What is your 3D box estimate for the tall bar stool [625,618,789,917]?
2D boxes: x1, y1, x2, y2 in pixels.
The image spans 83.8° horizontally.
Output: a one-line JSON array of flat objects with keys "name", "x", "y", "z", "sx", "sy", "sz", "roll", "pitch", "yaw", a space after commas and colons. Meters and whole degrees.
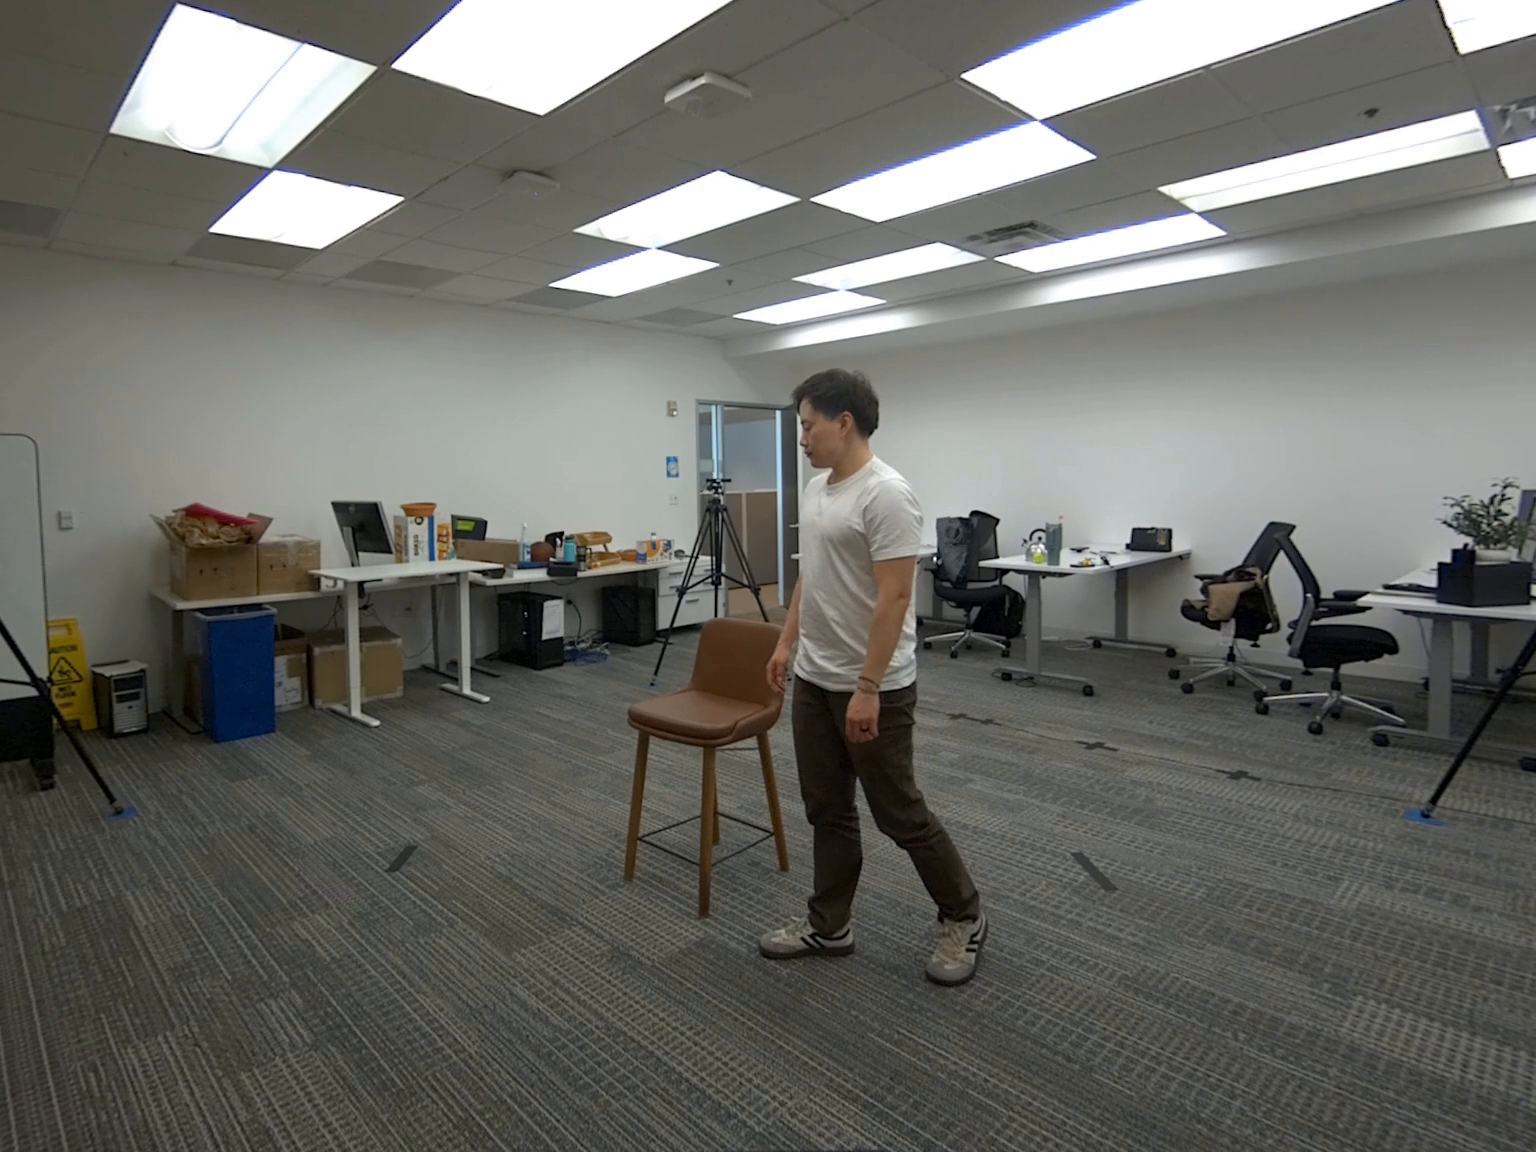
[{"name": "tall bar stool", "x": -0.213, "y": 0.625, "z": 2.996, "sx": 0.470, "sy": 0.888, "sz": 0.454, "roll": 3, "pitch": 4, "yaw": 43}]
